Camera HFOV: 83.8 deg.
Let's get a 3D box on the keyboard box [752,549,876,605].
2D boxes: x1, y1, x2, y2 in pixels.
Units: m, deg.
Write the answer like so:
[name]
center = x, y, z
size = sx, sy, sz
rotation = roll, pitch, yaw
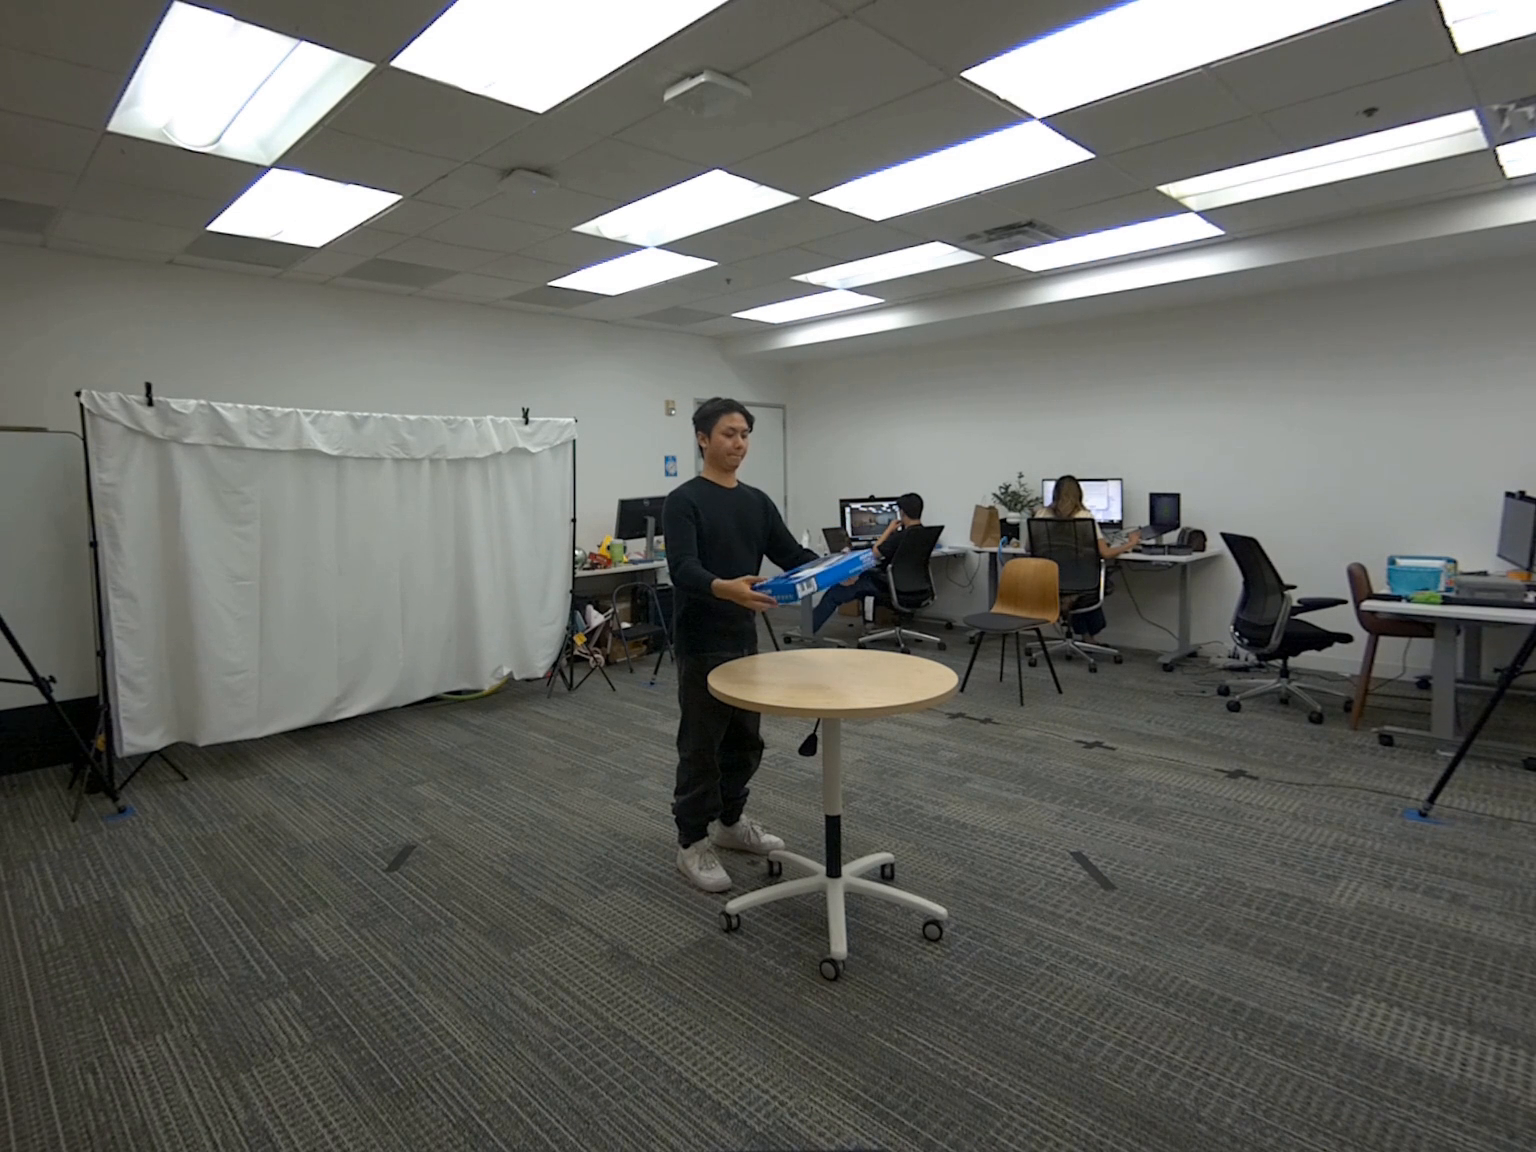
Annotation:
[keyboard box]
center = 0.149, -0.001, 2.678
size = 0.180, 0.059, 0.429
rotation = -5, 11, 44
